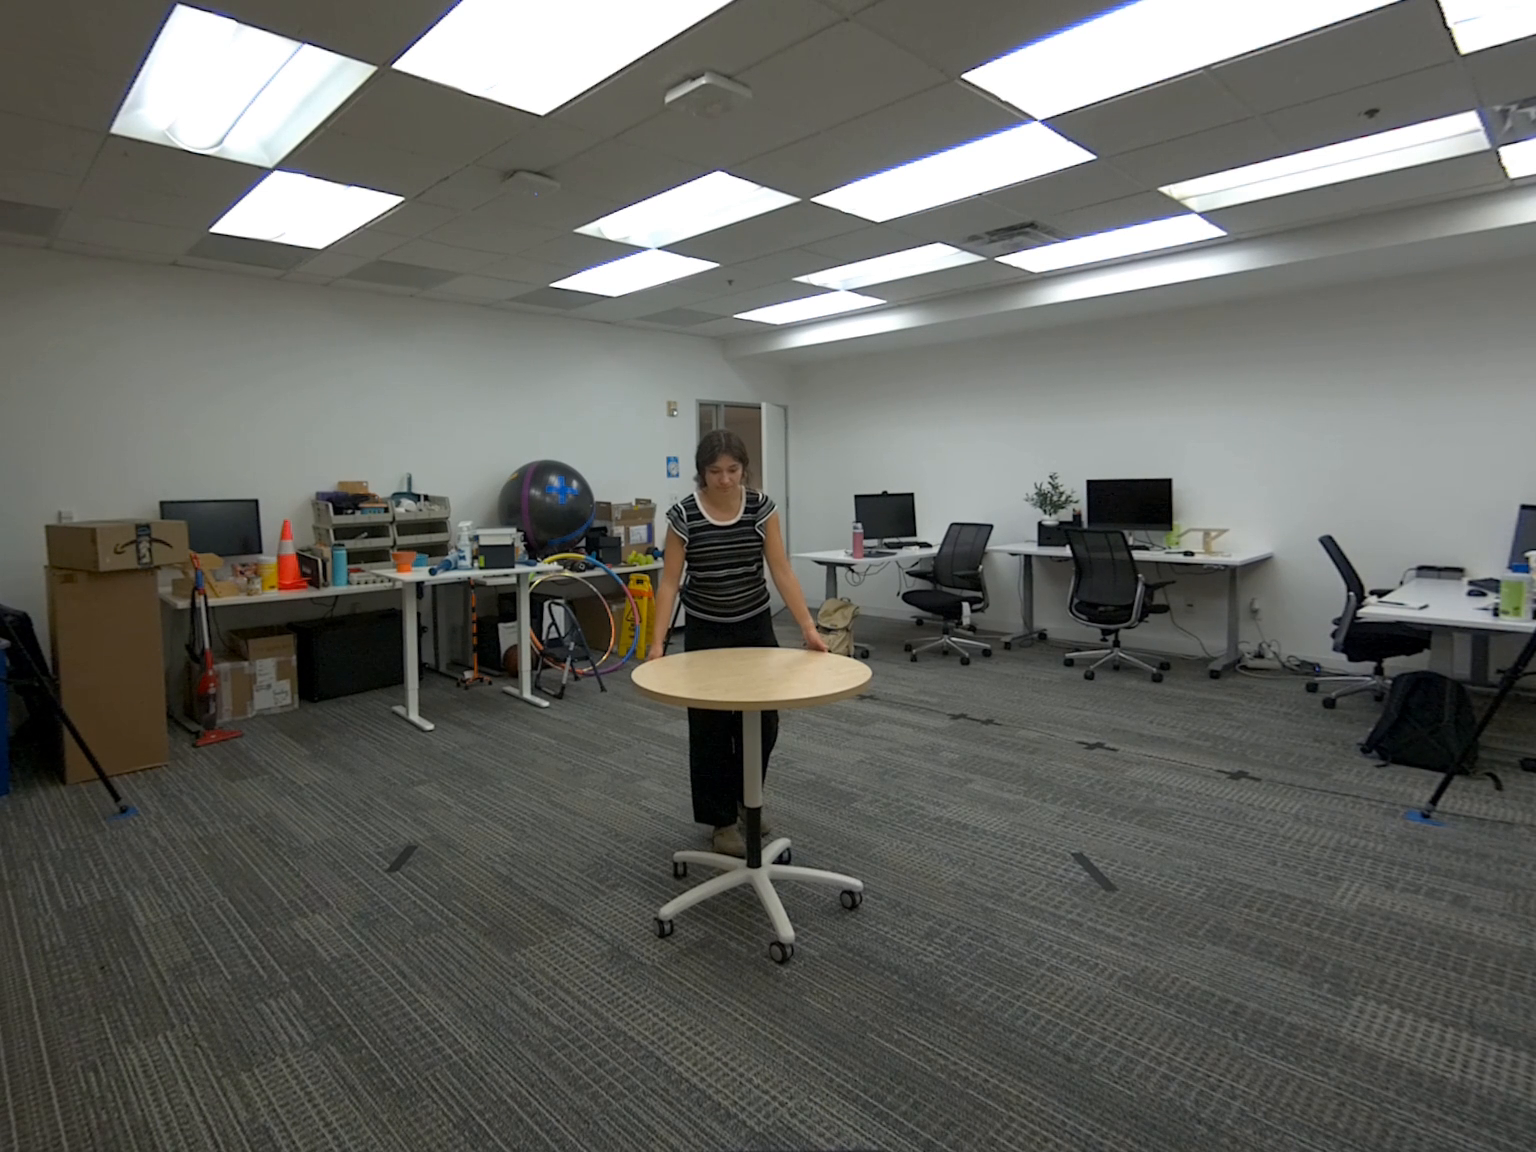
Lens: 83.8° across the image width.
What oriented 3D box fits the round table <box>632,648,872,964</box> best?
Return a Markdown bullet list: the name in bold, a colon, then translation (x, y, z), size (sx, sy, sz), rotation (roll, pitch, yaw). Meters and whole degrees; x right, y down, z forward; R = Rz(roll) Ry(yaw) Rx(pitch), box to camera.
- **round table**: translation (-0.054, 0.700, 2.761), size (0.763, 0.791, 0.768), rotation (-1, 5, -2)
